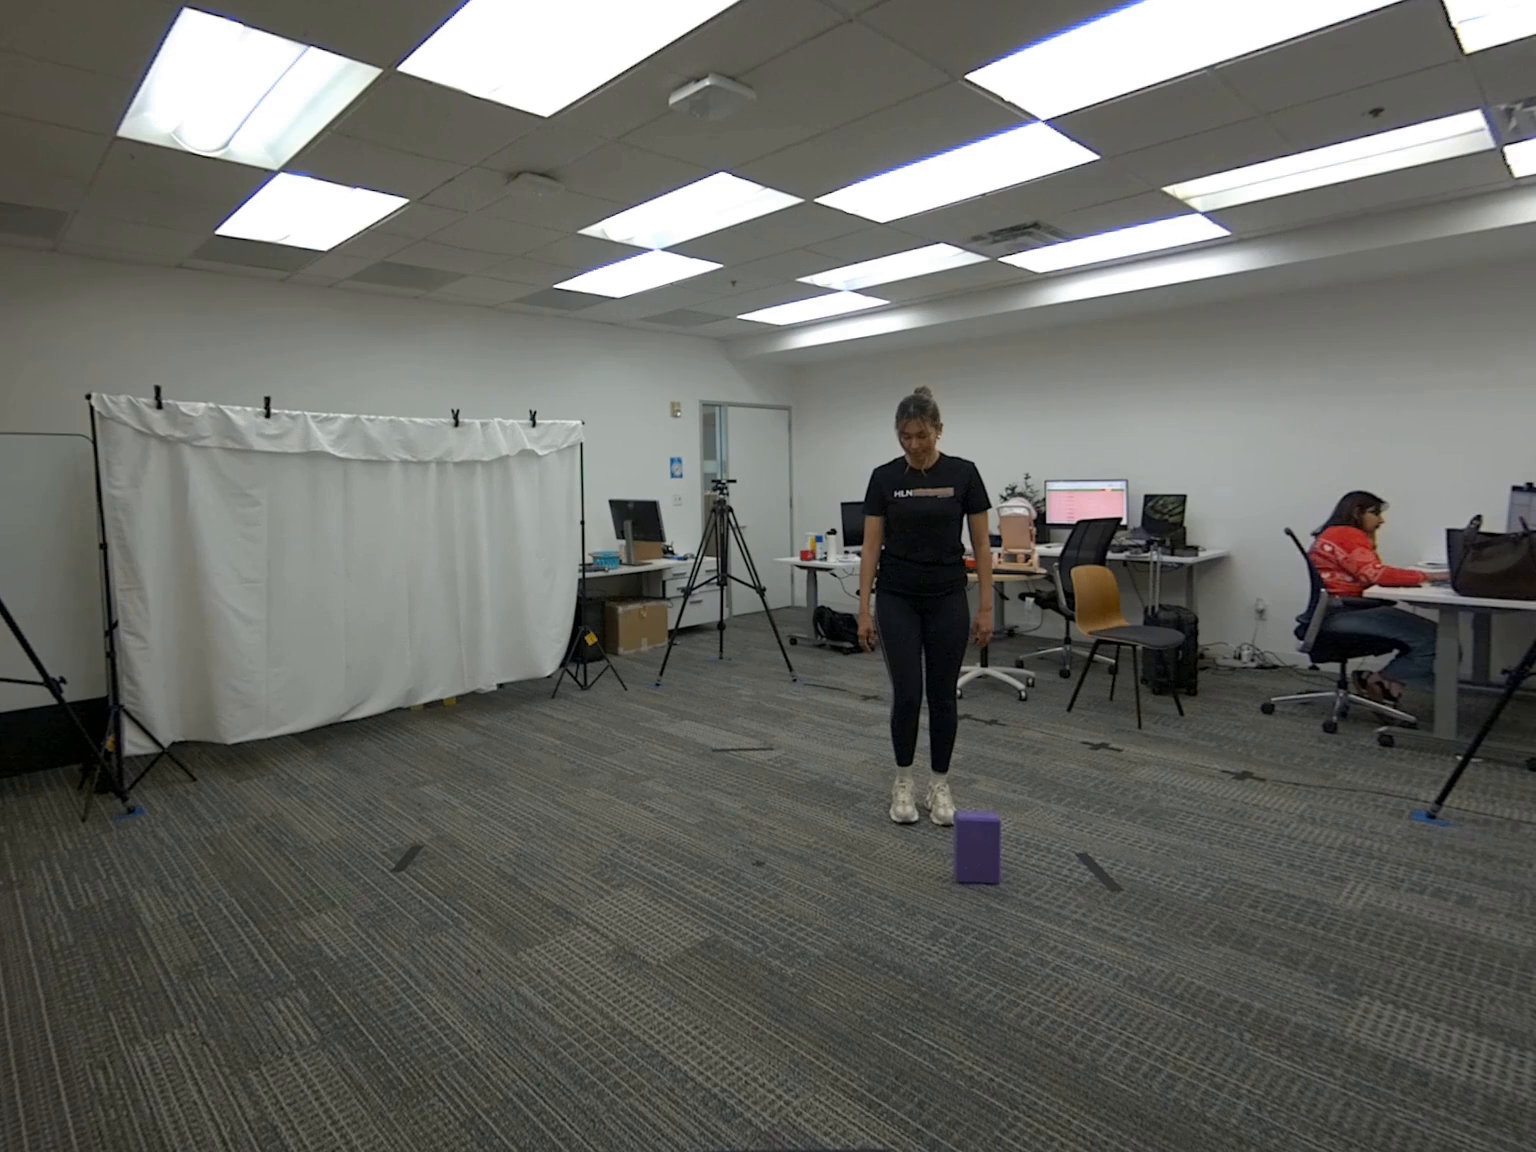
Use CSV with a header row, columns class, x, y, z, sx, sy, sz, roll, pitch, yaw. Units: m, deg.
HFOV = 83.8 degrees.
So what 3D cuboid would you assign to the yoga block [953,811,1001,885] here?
class,x,y,z,sx,sy,sz,roll,pitch,yaw
yoga block,0.726,0.937,2.945,0.150,0.229,0.076,-1,3,8
